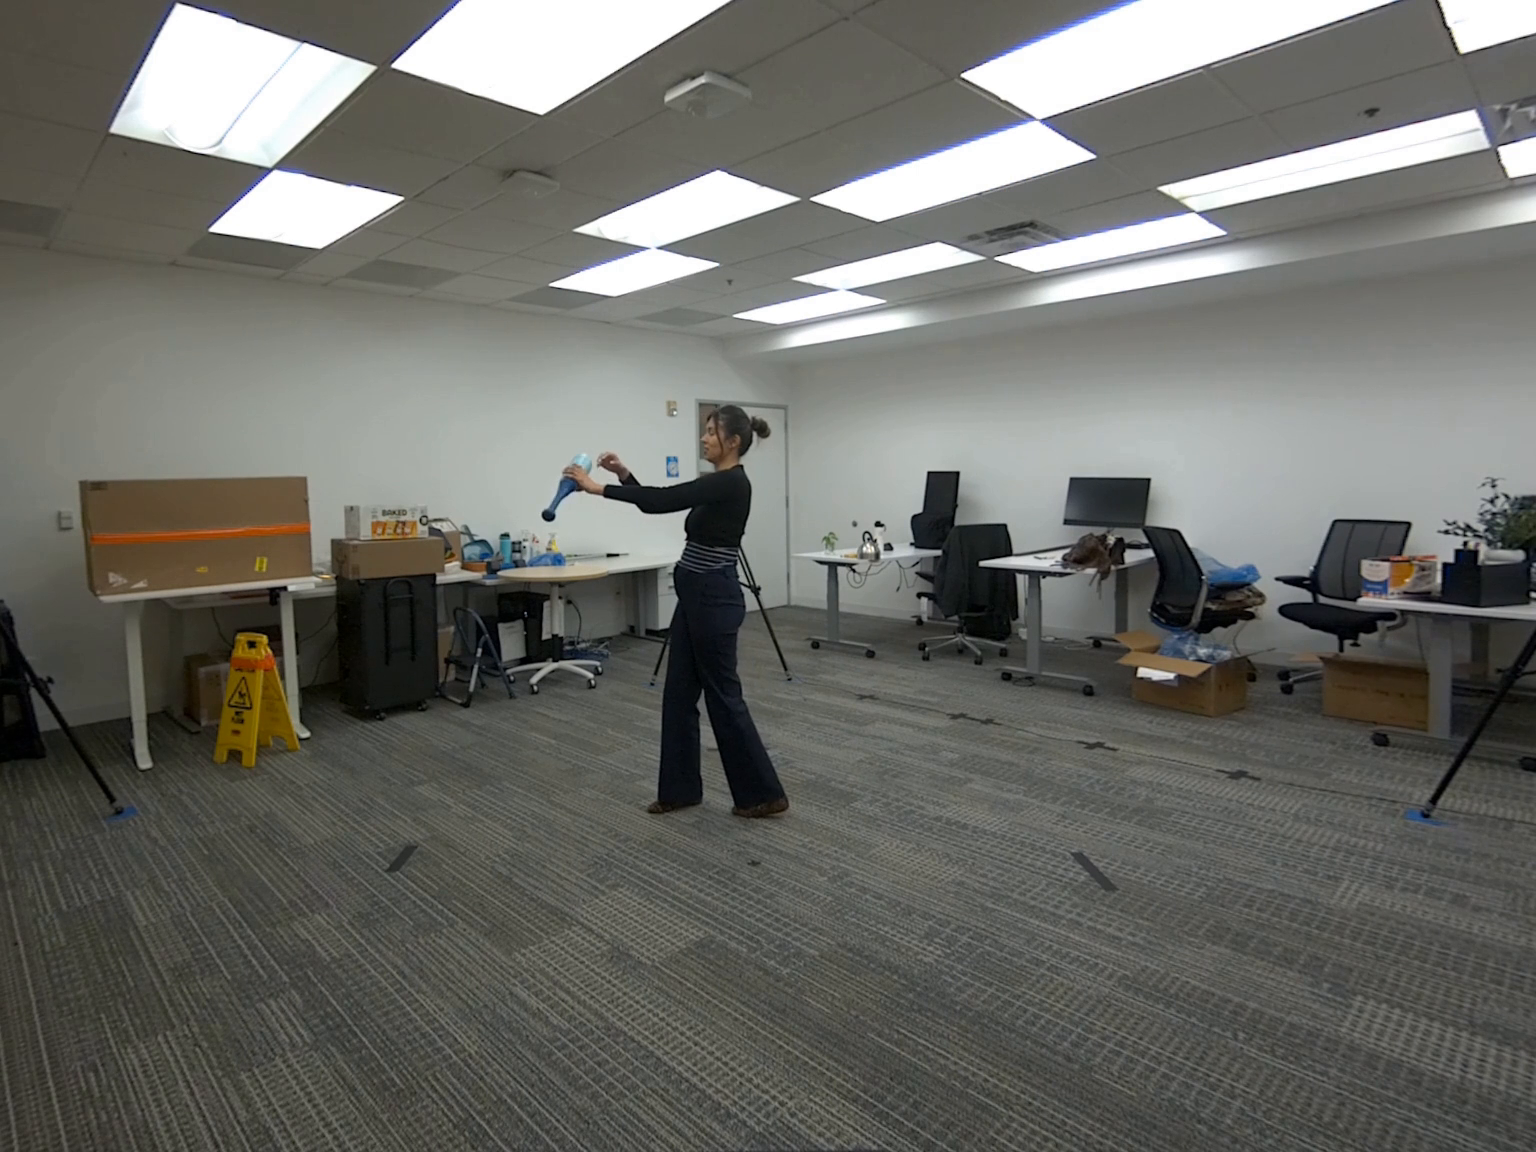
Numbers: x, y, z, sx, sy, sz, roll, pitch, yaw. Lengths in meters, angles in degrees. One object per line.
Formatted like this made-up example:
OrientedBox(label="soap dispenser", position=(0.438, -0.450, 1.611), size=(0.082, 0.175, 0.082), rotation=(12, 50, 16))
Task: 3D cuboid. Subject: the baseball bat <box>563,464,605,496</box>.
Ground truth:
OrientedBox(label="baseball bat", position=(-0.781, -0.348, 3.337), size=(0.090, 0.087, 0.552), rotation=(-1, 29, 6))
